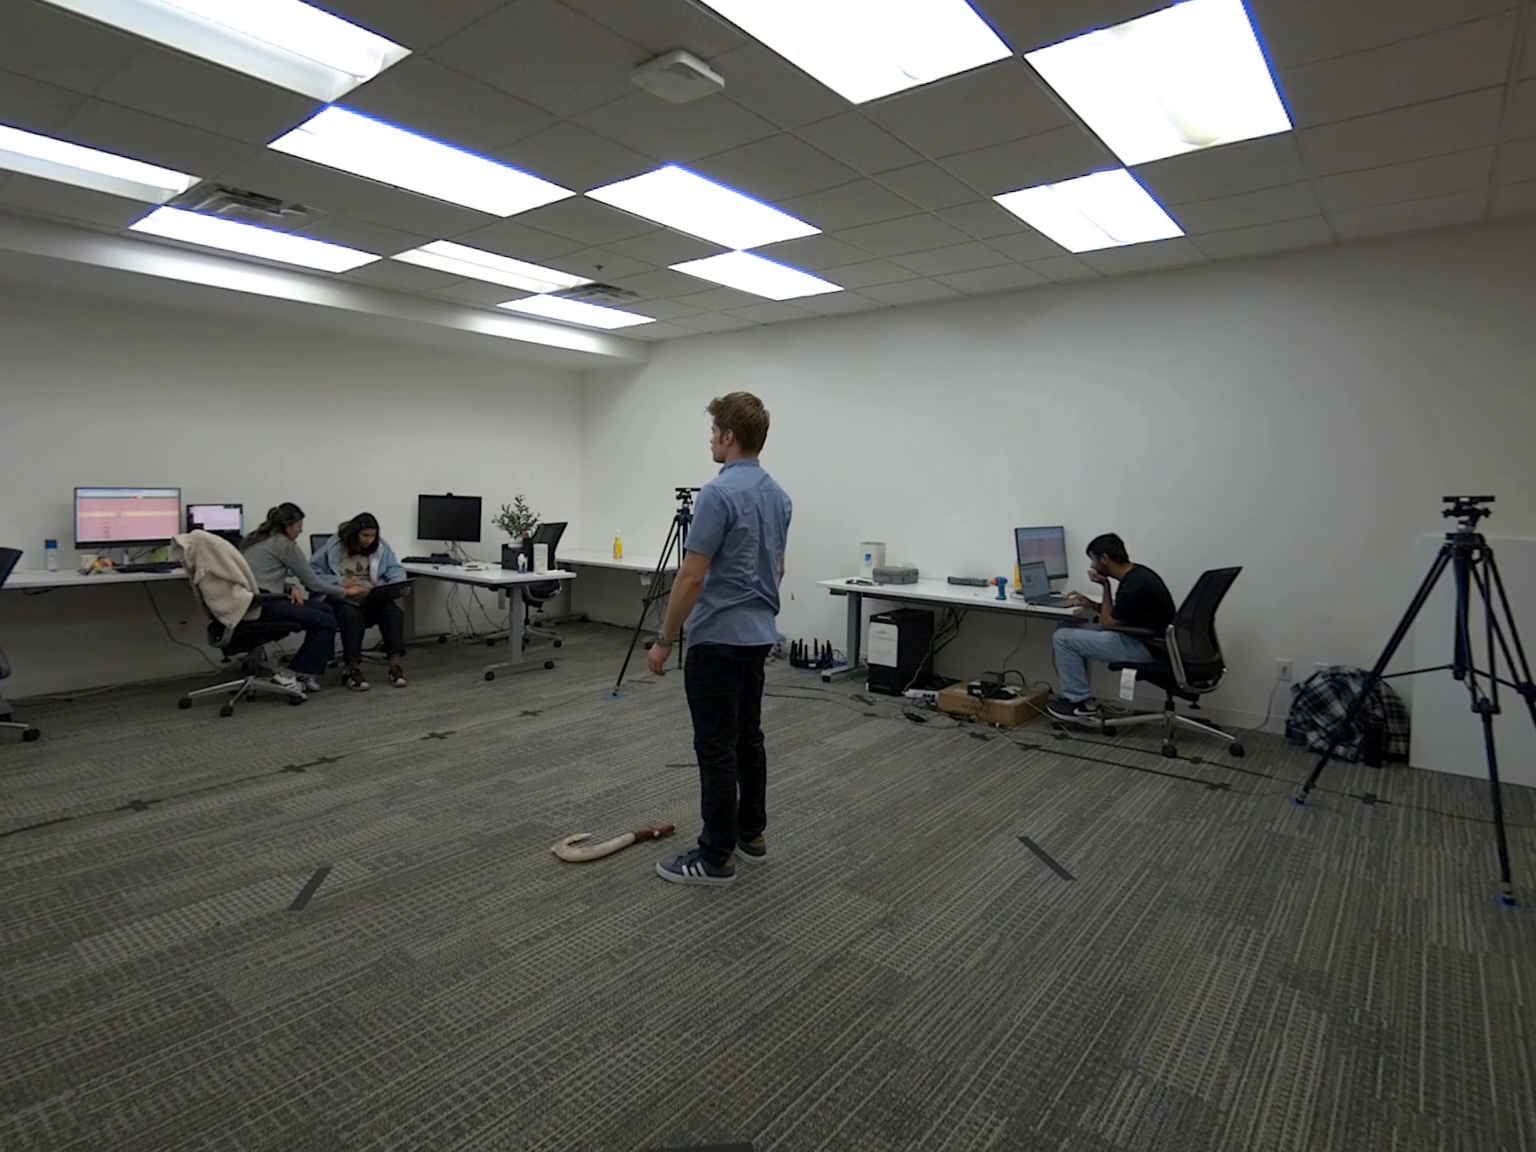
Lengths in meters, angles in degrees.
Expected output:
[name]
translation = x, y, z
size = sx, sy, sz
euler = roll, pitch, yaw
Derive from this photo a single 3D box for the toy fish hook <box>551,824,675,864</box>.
[toy fish hook]
translation = -0.609, 1.019, 3.325
size = 0.492, 0.048, 0.232
euler = -3, 8, -38
